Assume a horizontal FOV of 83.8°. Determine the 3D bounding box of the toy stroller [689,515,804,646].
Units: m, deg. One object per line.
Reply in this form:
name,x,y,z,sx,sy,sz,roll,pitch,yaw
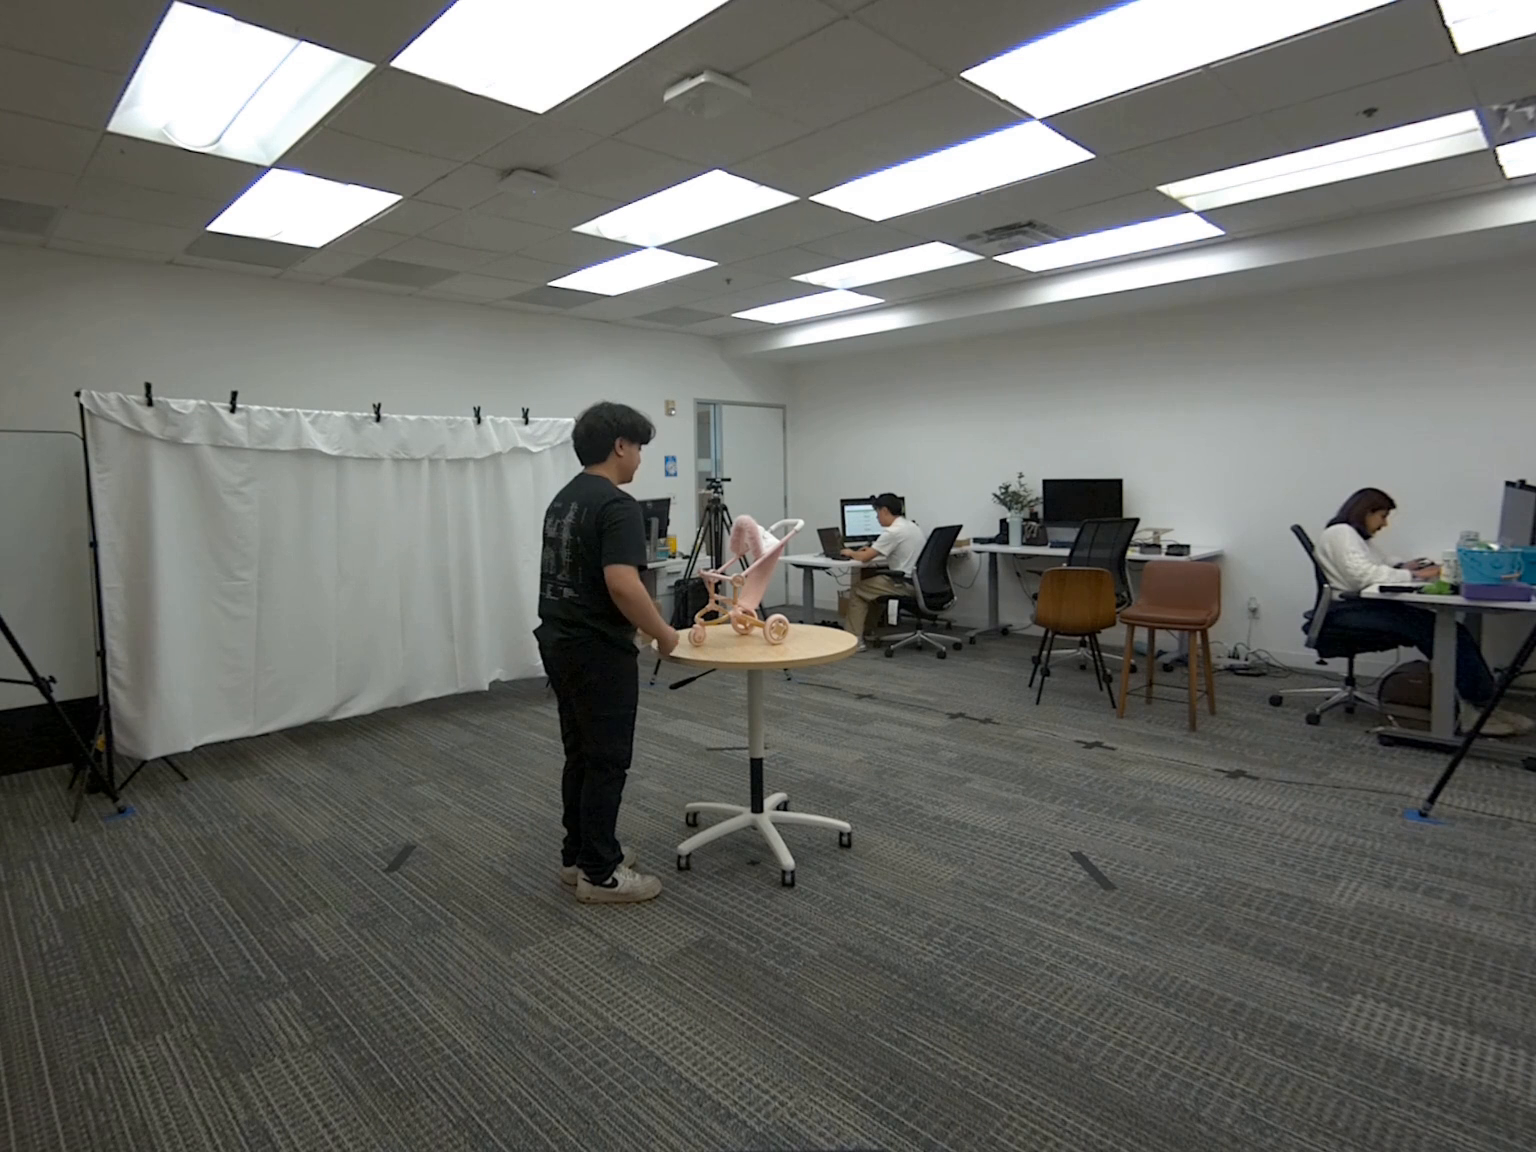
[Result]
toy stroller,-0.098,0.013,3.160,0.333,0.536,0.287,12,-2,-22
